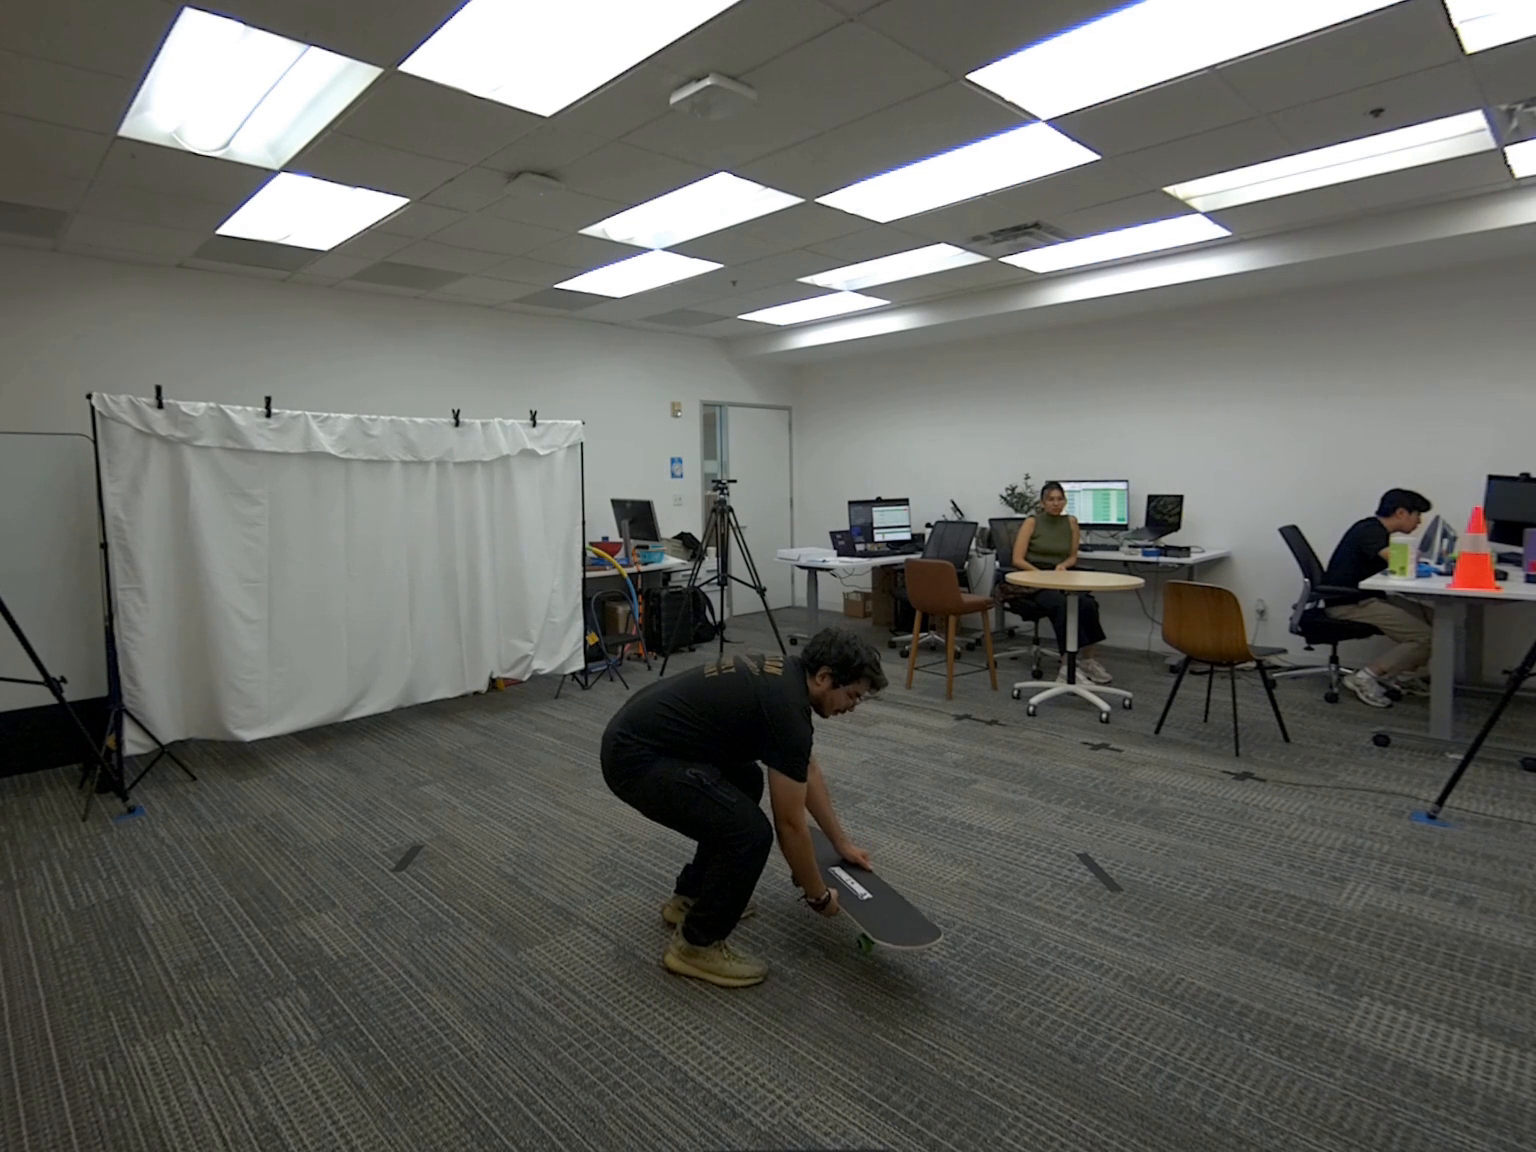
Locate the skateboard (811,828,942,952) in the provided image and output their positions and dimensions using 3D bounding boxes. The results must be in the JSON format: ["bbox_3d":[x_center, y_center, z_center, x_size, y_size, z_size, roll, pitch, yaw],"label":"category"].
[{"bbox_3d":[0.252,0.958,2.583,0.190,0.109,0.805,-5,9,-23],"label":"skateboard"}]
